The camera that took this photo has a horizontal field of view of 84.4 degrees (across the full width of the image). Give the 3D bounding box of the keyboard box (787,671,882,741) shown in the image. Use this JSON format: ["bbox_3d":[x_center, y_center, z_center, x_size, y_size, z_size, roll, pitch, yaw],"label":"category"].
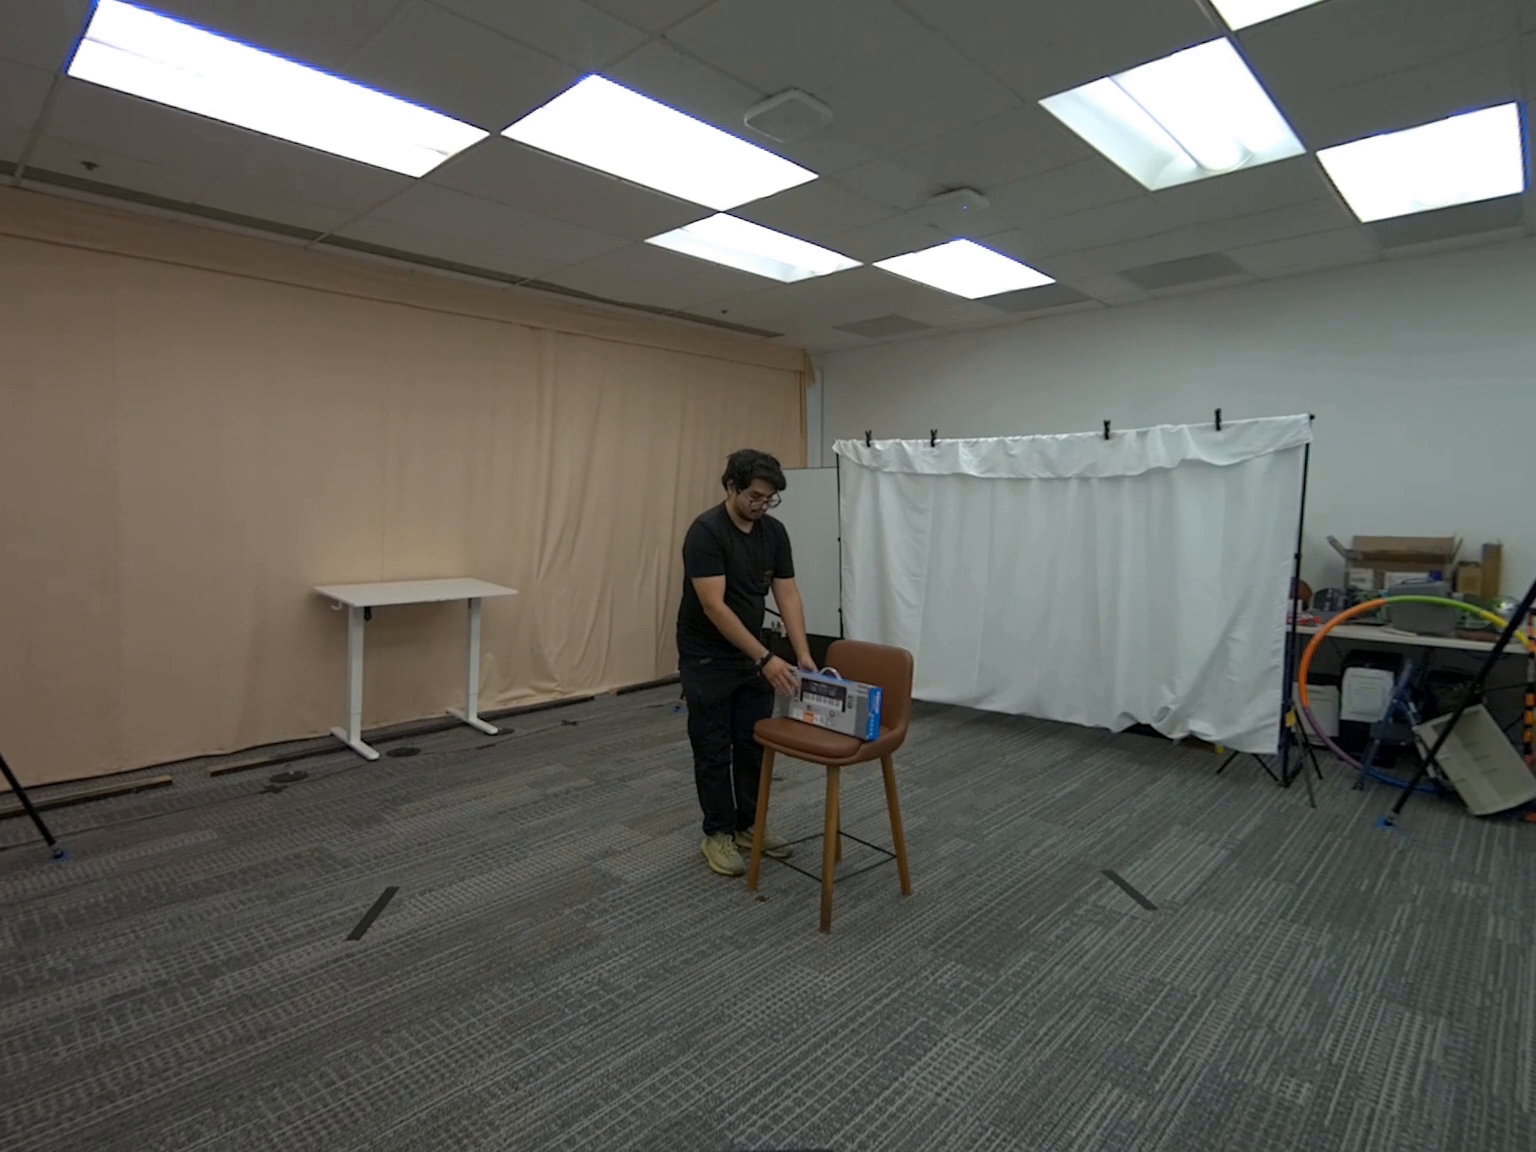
[{"bbox_3d":[0.213,0.444,2.962,0.057,0.176,0.451,5,0,-40],"label":"keyboard box"}]
